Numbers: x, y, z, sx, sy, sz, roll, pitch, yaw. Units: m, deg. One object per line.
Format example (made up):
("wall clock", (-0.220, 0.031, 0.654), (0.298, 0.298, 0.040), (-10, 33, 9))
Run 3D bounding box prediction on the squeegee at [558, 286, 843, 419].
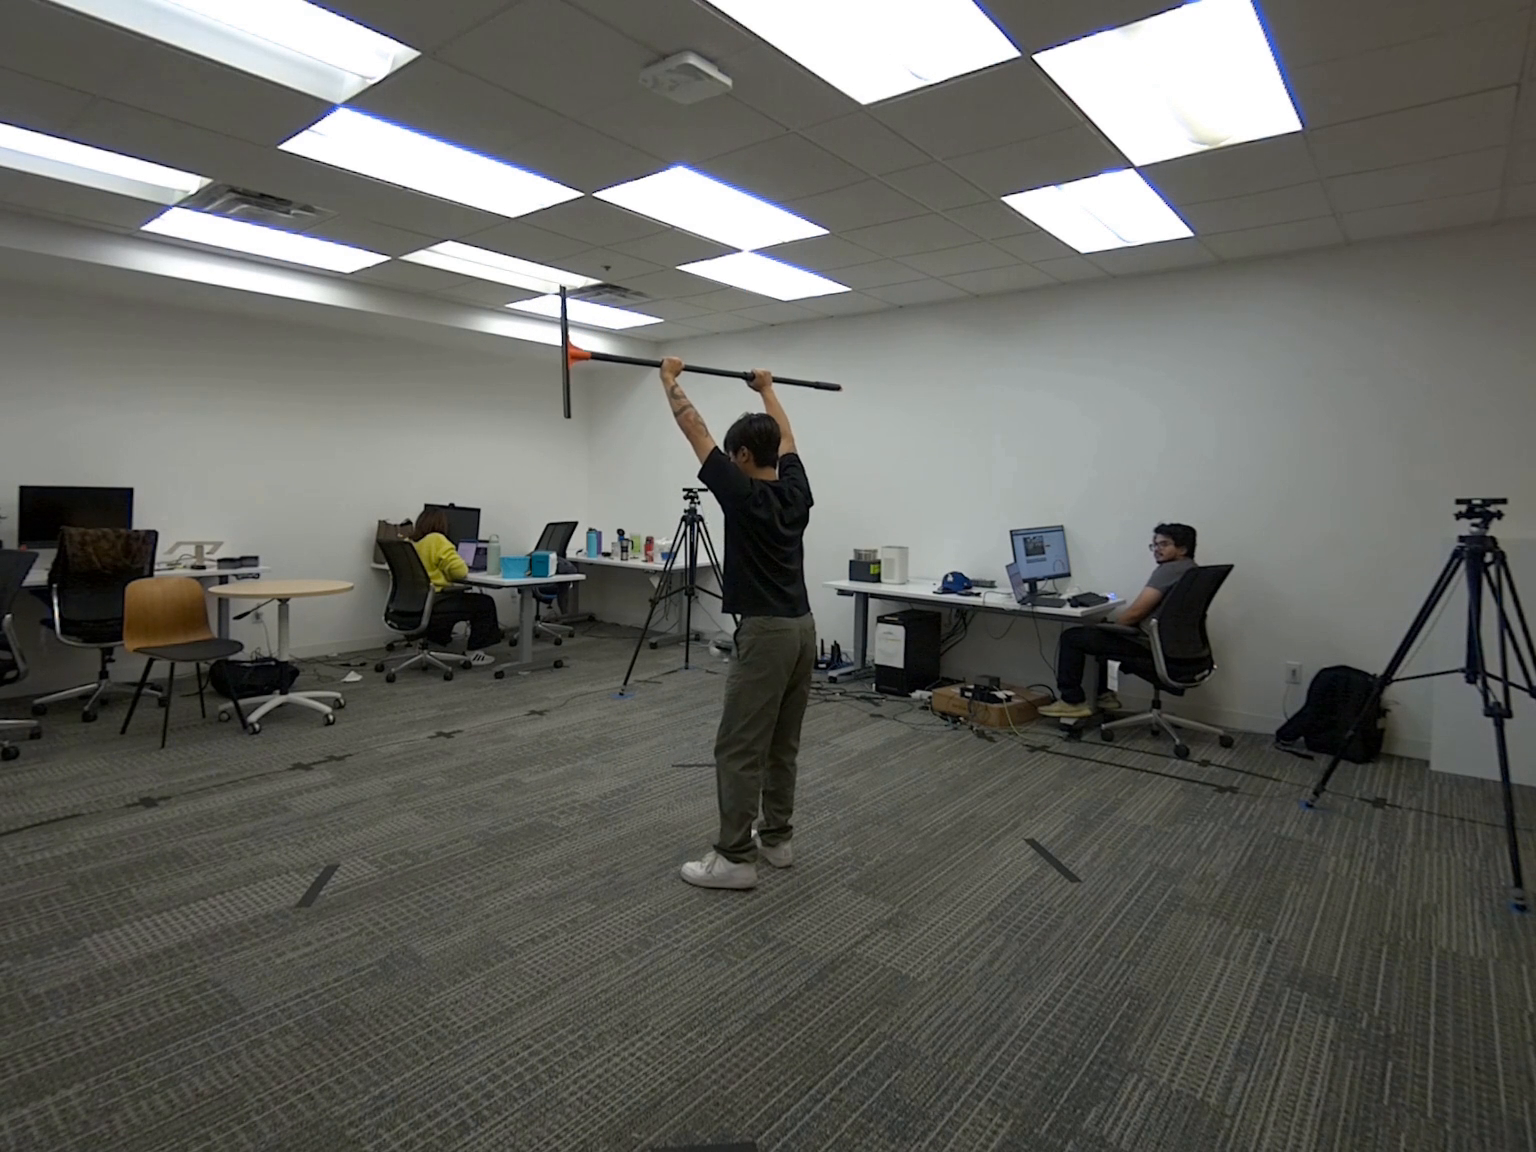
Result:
("squeegee", (-0.196, -0.791, 3.338), (0.054, 0.438, 1.492), (-7, -1, 43))
